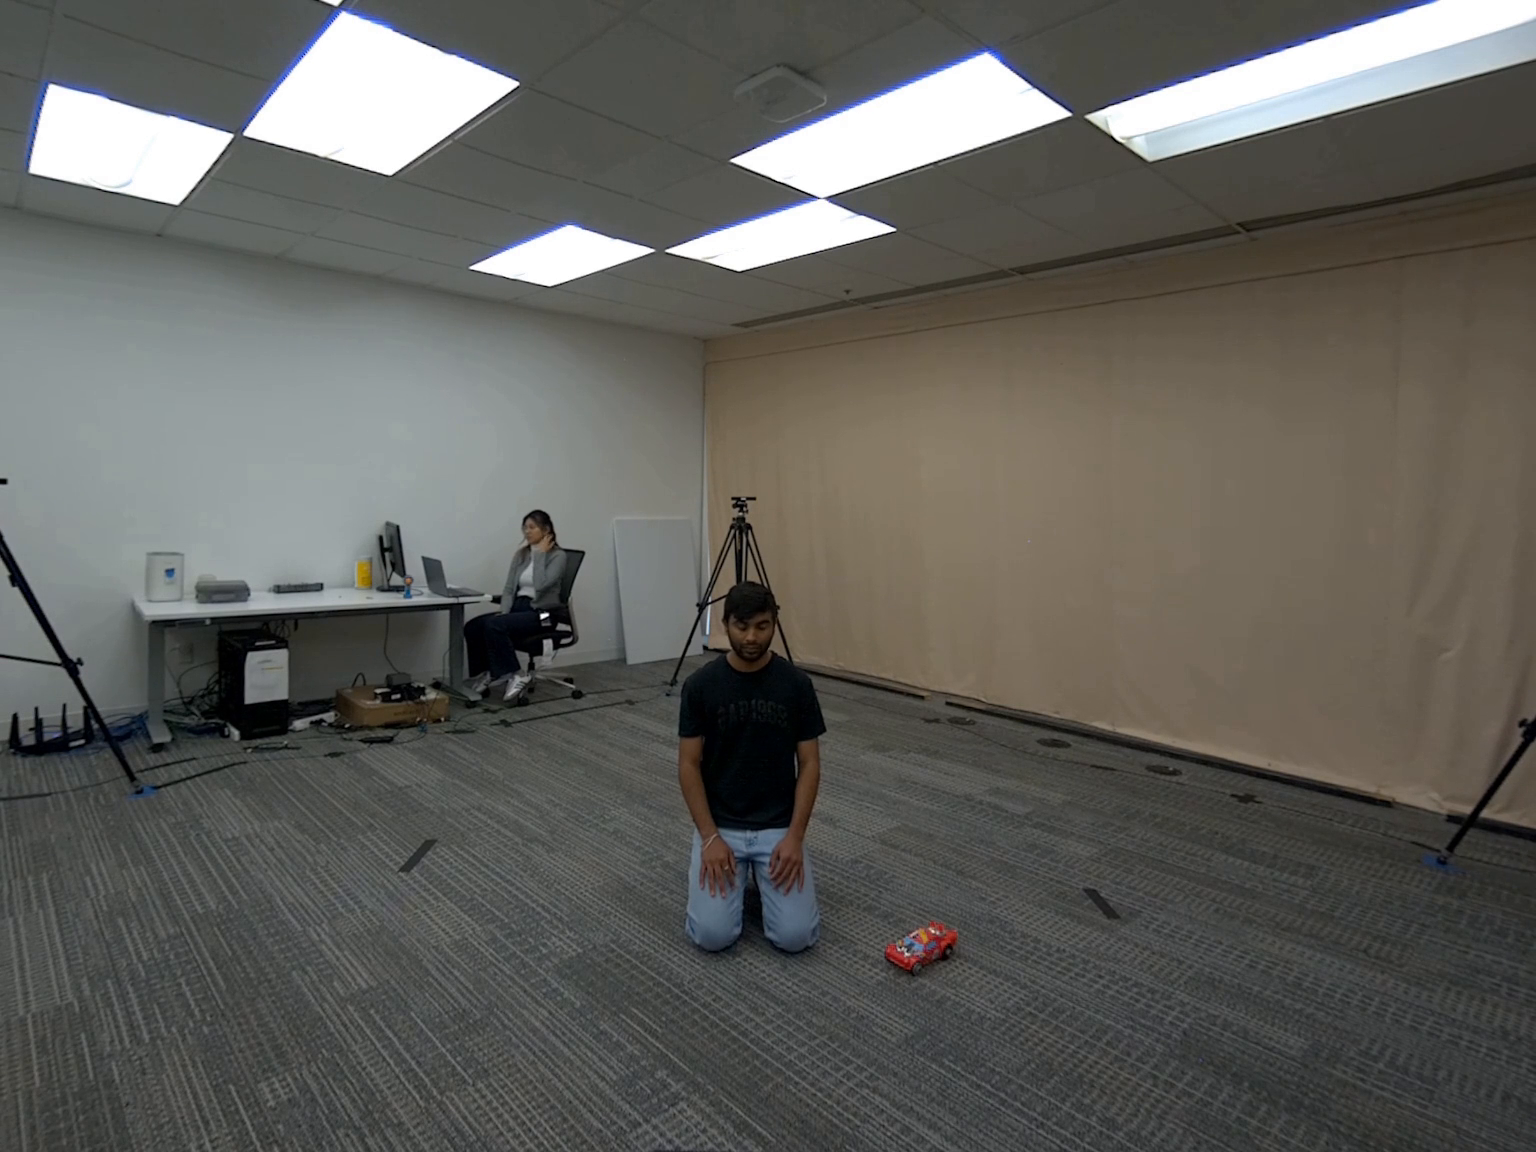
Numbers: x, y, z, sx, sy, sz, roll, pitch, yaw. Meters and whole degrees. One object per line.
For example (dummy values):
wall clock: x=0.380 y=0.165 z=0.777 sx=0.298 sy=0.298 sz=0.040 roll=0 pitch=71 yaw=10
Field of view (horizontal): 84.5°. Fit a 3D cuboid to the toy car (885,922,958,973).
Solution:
toy car: x=0.474 y=1.134 z=2.576 sx=0.250 sy=0.082 sz=0.134 roll=-16 pitch=15 yaw=-37
